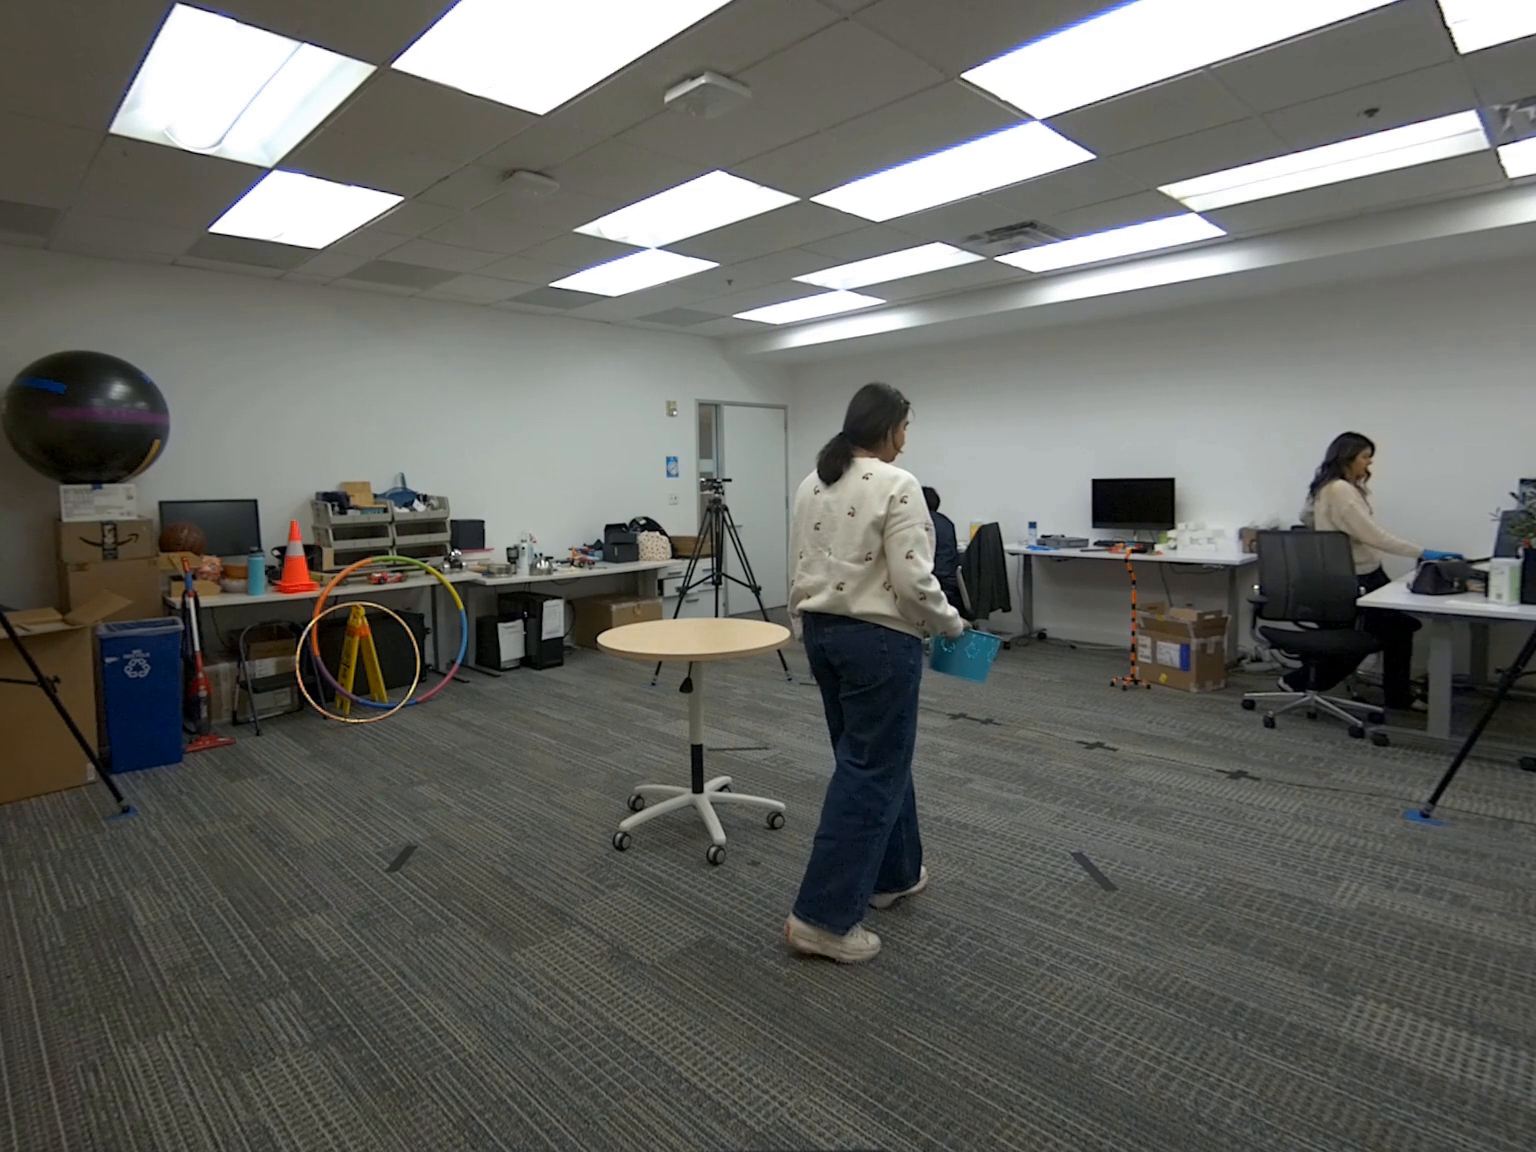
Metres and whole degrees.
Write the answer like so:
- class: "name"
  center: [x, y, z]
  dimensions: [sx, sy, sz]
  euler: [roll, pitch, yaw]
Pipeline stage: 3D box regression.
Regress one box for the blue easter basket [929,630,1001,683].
- class: "blue easter basket"
  center: [0.624, 0.240, 2.740]
  dimensions: [0.243, 0.156, 0.244]
  euler: [12, 1, -2]
